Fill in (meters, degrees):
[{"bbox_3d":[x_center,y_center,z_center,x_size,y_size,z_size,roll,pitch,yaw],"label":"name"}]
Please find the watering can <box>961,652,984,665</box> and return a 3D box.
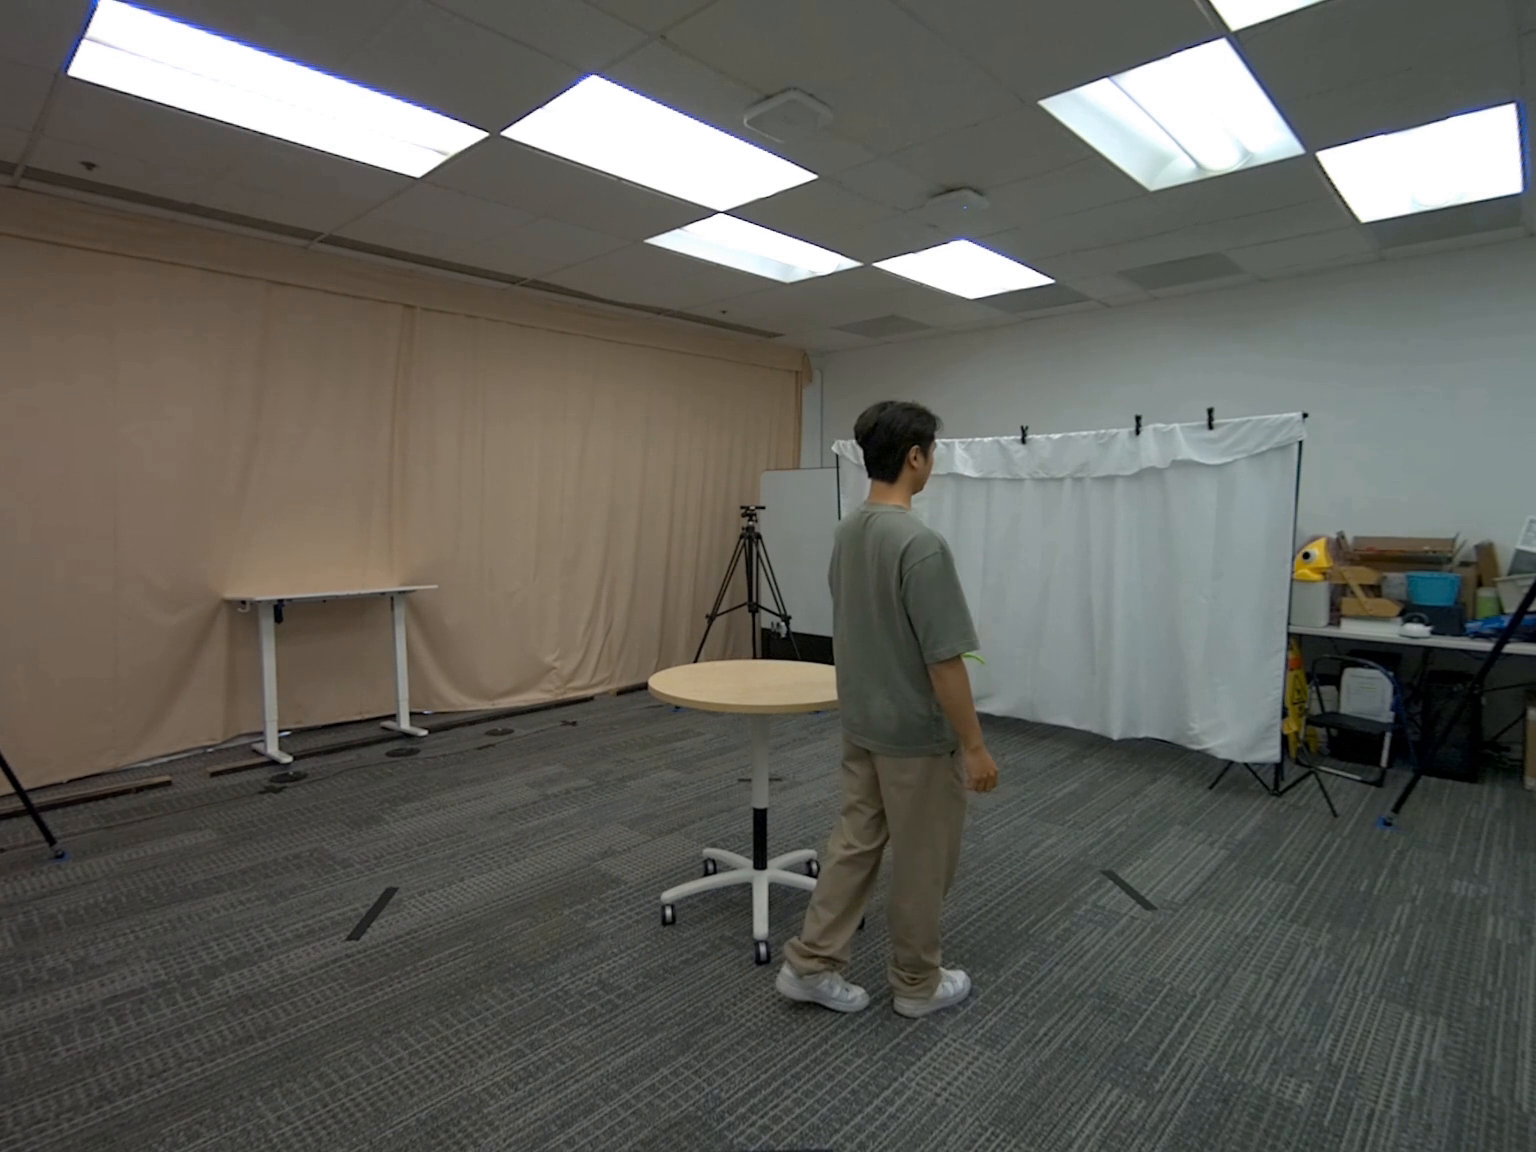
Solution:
[{"bbox_3d":[0.562,0.206,2.726,0.178,0.285,0.095,-41,-29,27],"label":"watering can"}]
